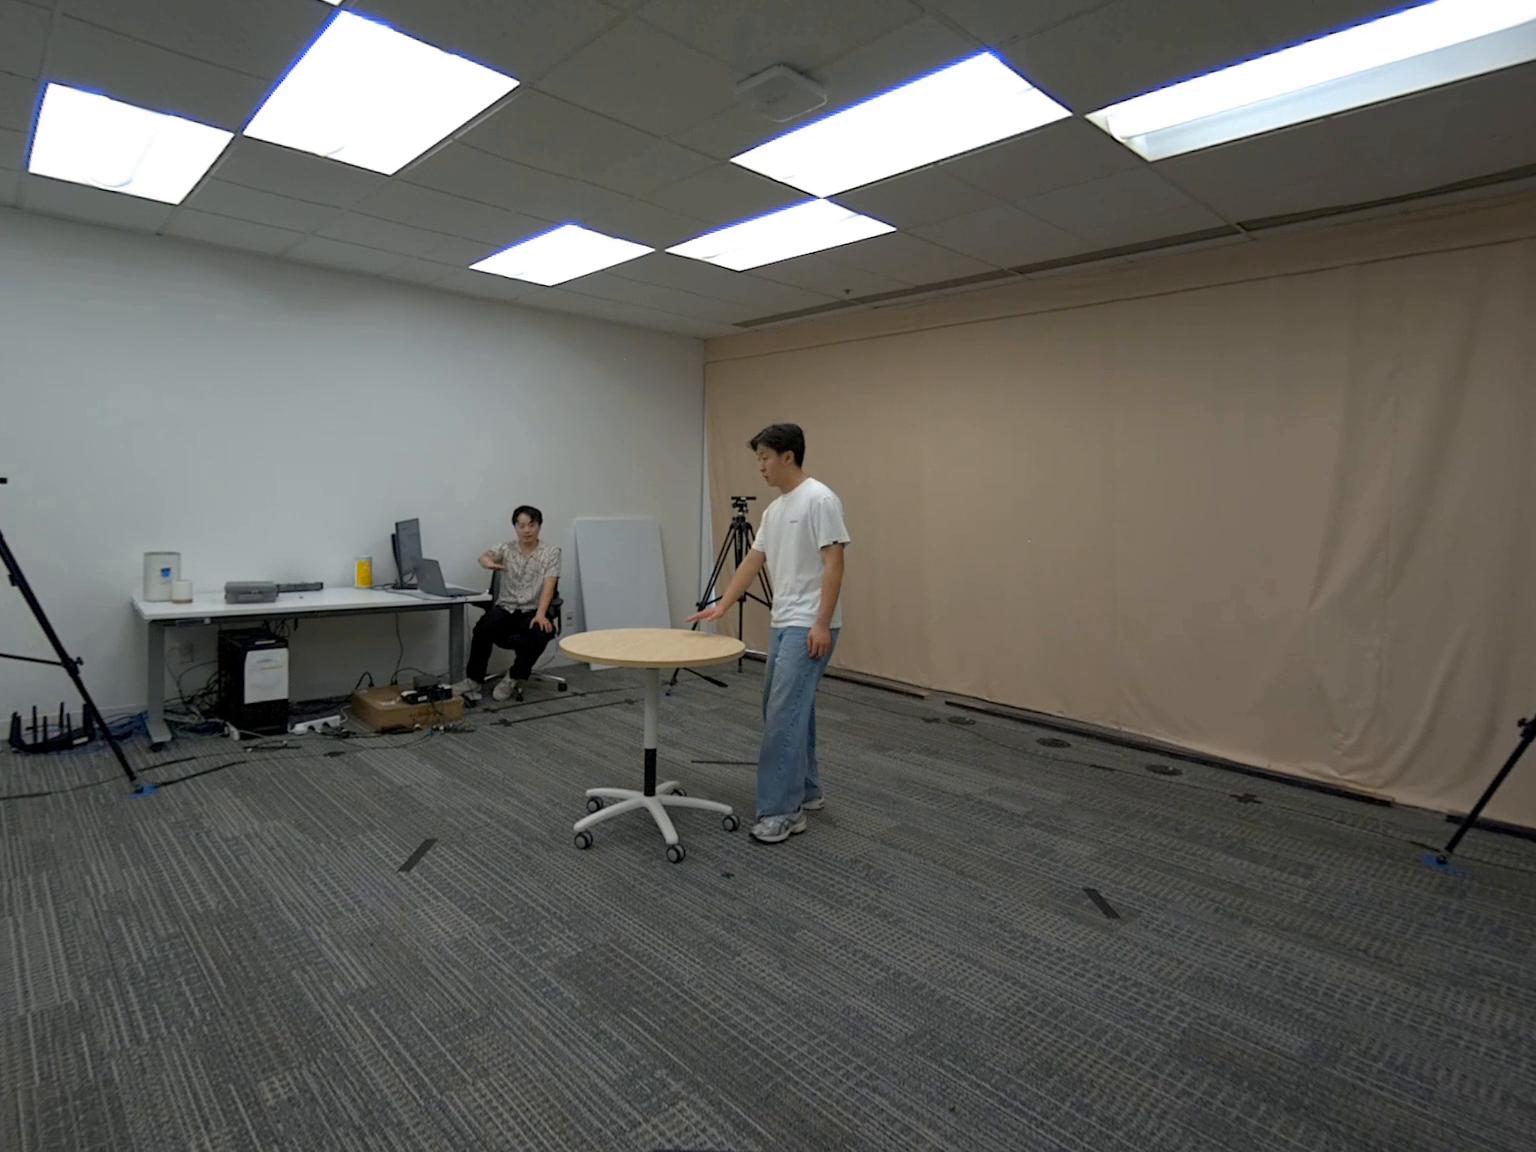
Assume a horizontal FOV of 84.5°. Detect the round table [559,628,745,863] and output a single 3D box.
[{"bbox_3d":[-0.496,0.672,3.507,0.763,0.792,0.766,1,4,-1],"label":"round table"}]
